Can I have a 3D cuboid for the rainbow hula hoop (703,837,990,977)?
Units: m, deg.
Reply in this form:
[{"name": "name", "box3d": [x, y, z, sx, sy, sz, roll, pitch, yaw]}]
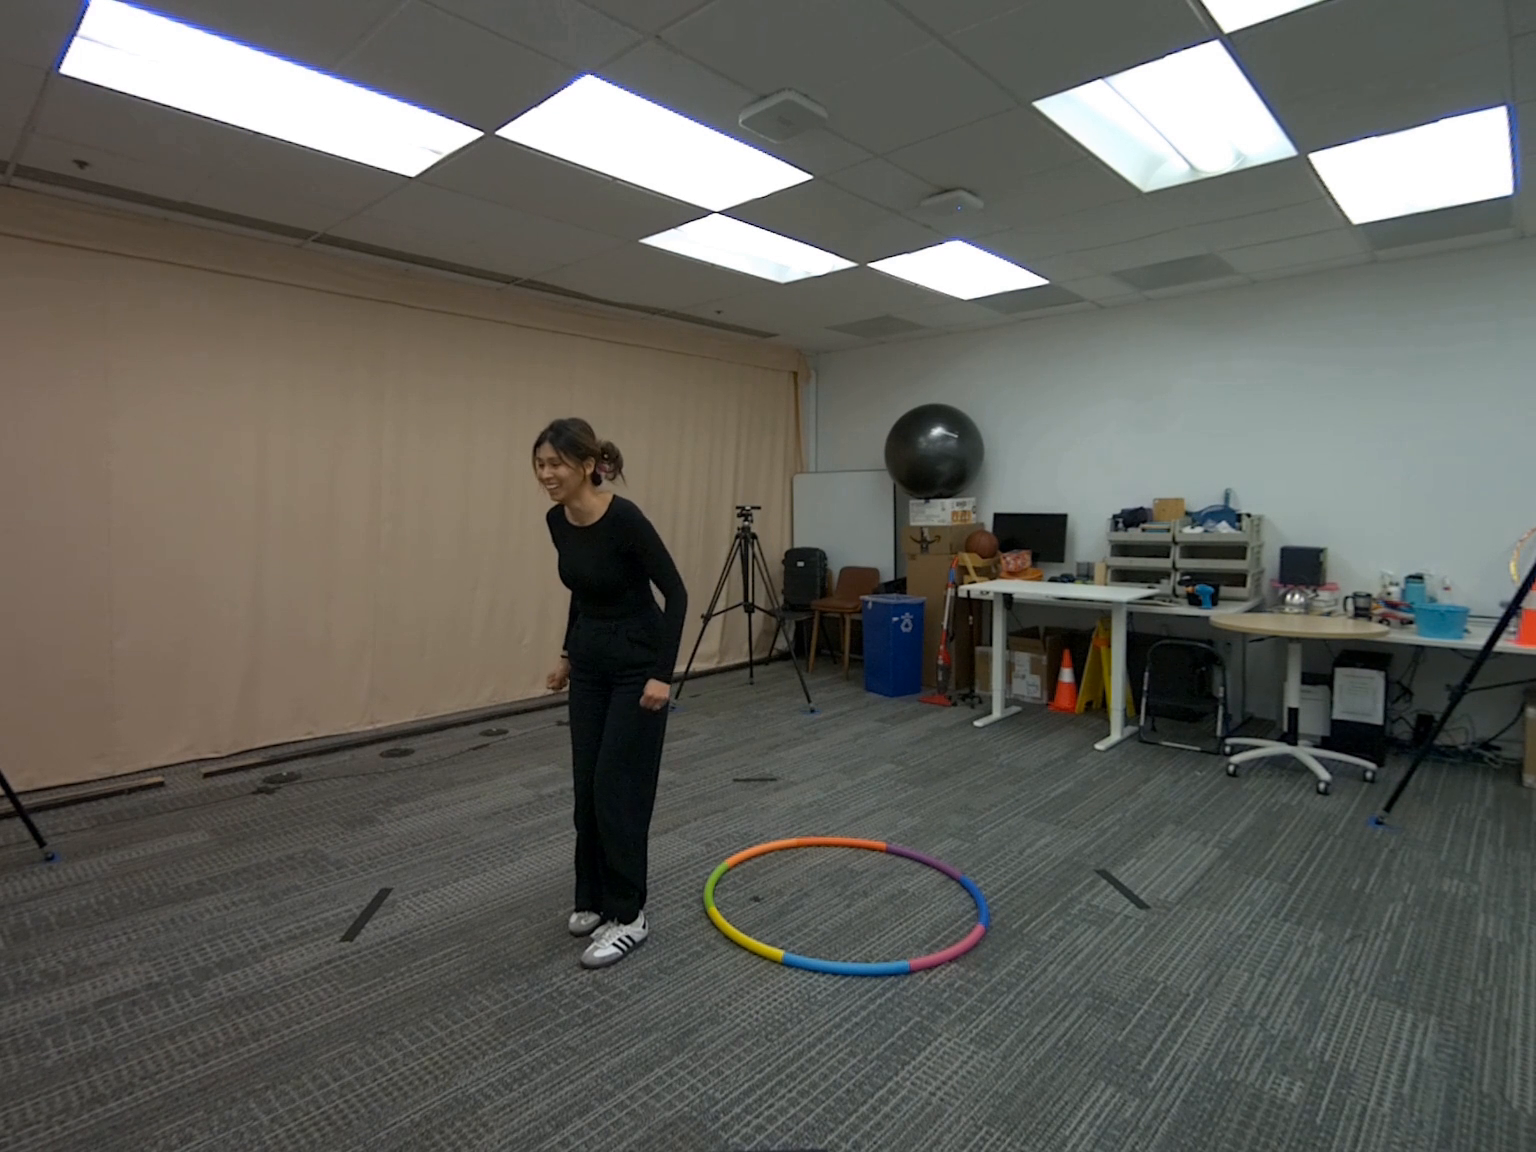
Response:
[{"name": "rainbow hula hoop", "box3d": [0.264, 1.114, 2.968, 0.978, 0.035, 0.982, 0, 5, -2]}]
